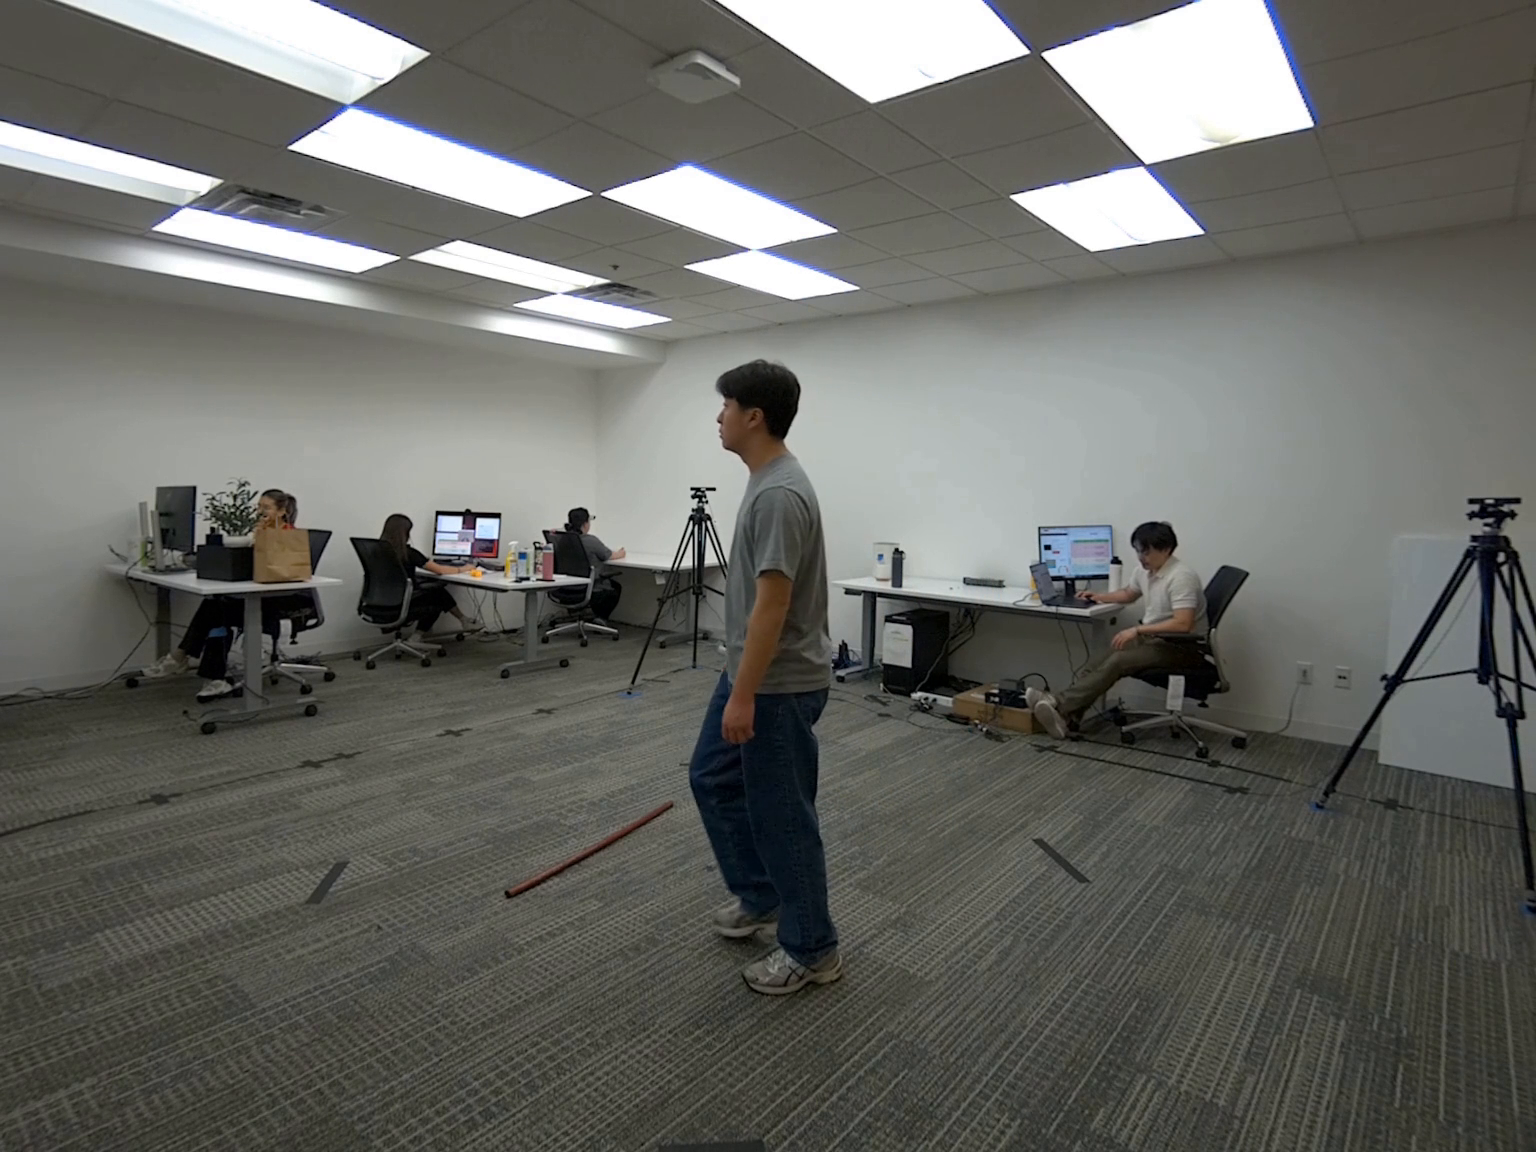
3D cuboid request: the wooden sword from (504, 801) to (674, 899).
[{"bbox_3d":[-0.637,1.016,3.297,0.053,0.024,1.000,27,16,23],"label":"wooden sword"}]
